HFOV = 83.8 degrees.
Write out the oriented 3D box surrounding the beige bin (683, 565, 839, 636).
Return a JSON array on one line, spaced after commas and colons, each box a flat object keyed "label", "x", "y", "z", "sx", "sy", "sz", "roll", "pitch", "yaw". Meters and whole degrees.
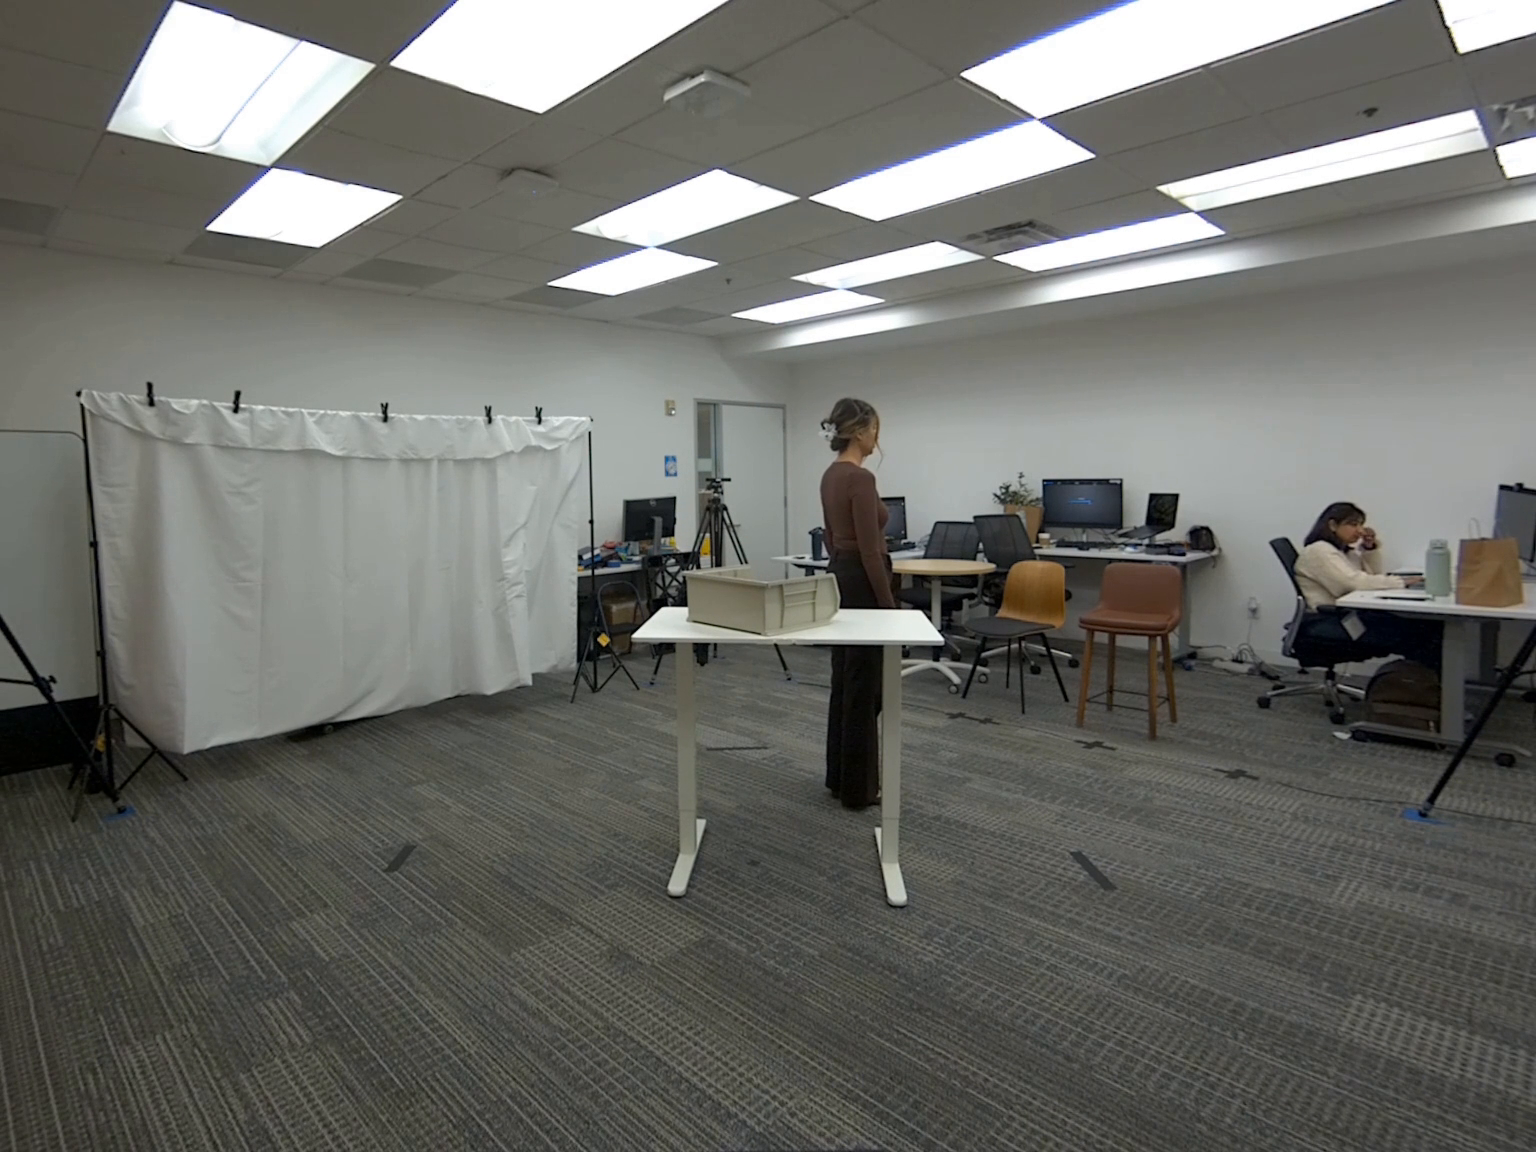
[{"label": "beige bin", "x": -0.023, "y": 0.077, "z": 3.030, "sx": 0.368, "sy": 0.188, "sz": 0.436, "roll": -8, "pitch": 11, "yaw": -44}]
